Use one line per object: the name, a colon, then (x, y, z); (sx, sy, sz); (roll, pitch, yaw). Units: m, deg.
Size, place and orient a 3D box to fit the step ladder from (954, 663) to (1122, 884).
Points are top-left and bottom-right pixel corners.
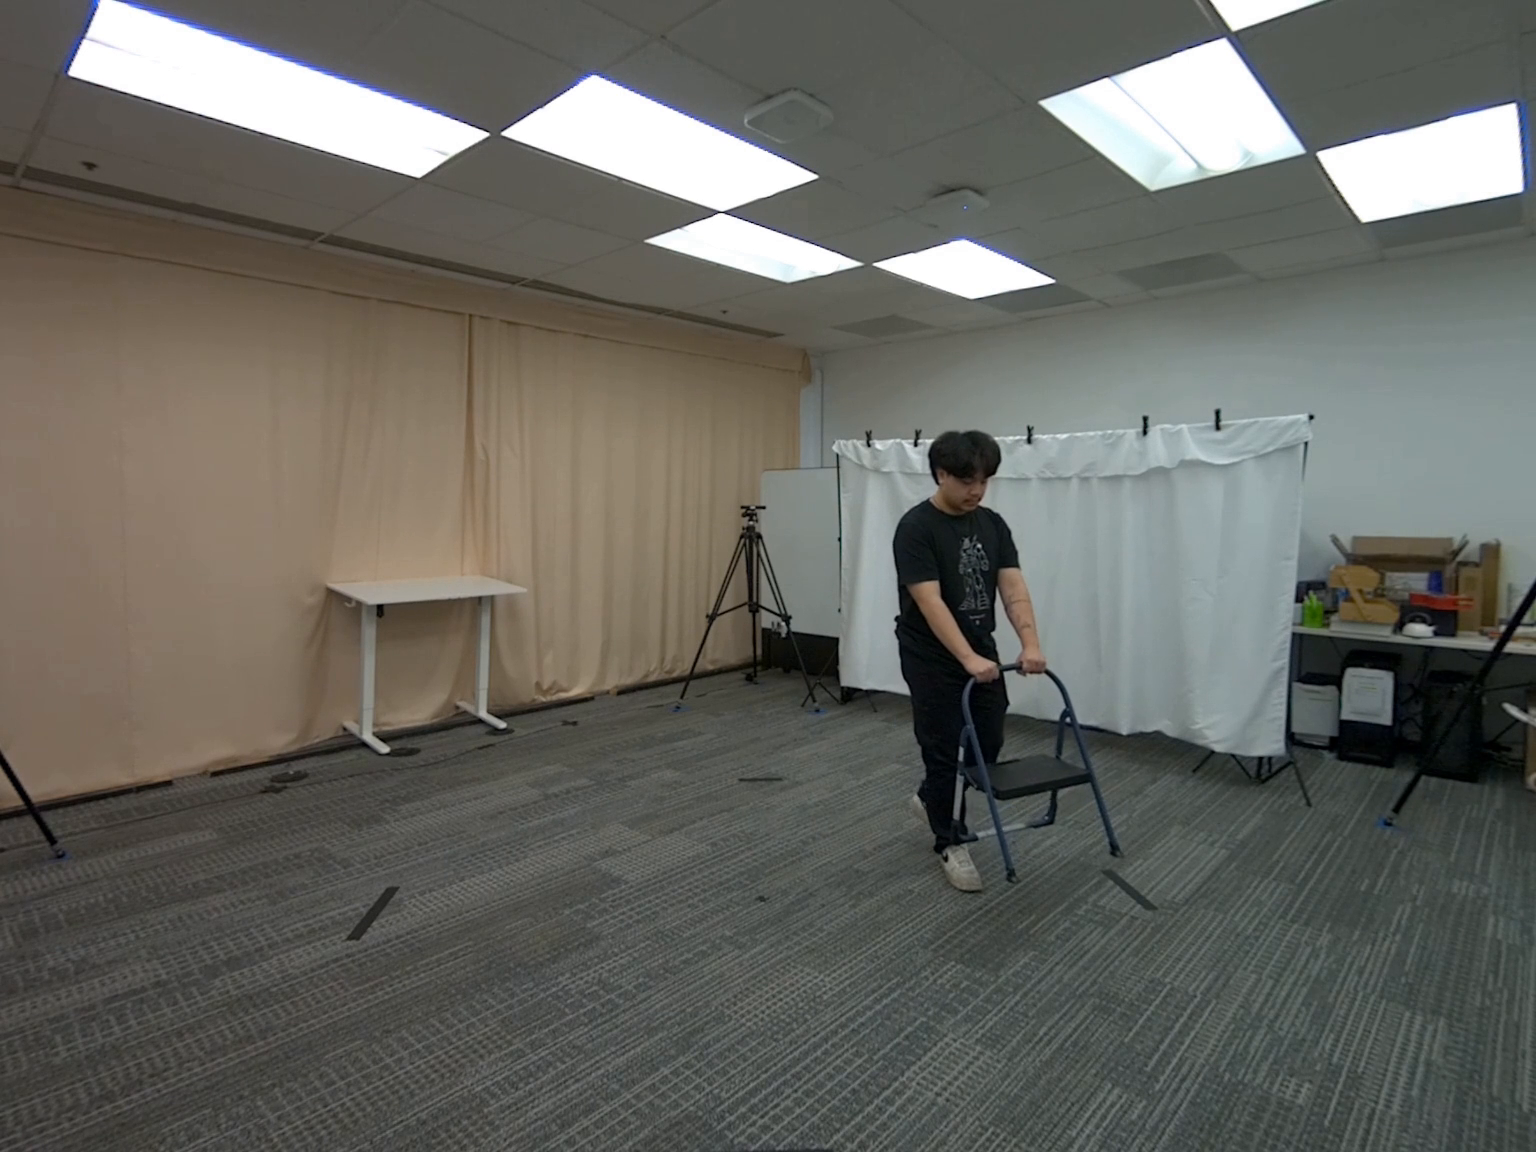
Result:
step ladder: (0.858, 0.608, 2.778); (0.422, 0.605, 0.356); (-5, 2, -20)
